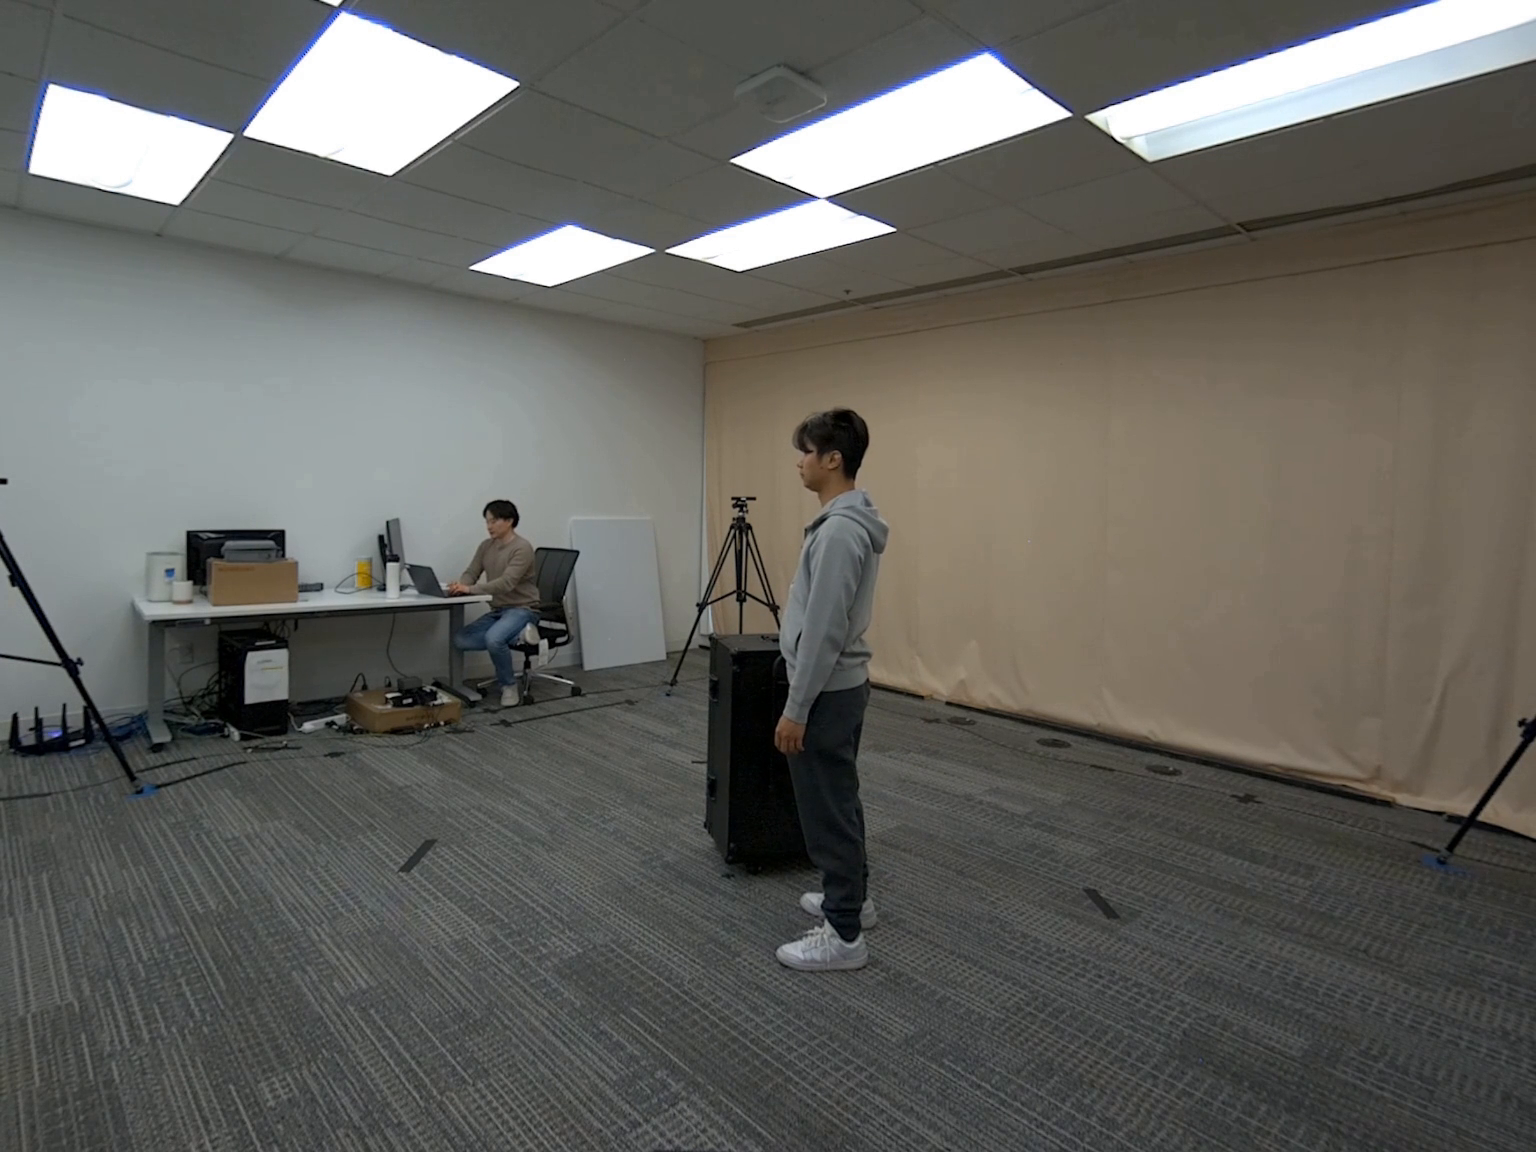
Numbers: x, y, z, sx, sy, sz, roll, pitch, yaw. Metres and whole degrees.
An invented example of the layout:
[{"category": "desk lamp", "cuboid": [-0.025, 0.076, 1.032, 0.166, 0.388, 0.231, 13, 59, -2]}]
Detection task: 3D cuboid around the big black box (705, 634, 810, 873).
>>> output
[{"category": "big black box", "cuboid": [0.041, 0.671, 3.242, 0.514, 0.859, 0.402, 1, 5, -16]}]
